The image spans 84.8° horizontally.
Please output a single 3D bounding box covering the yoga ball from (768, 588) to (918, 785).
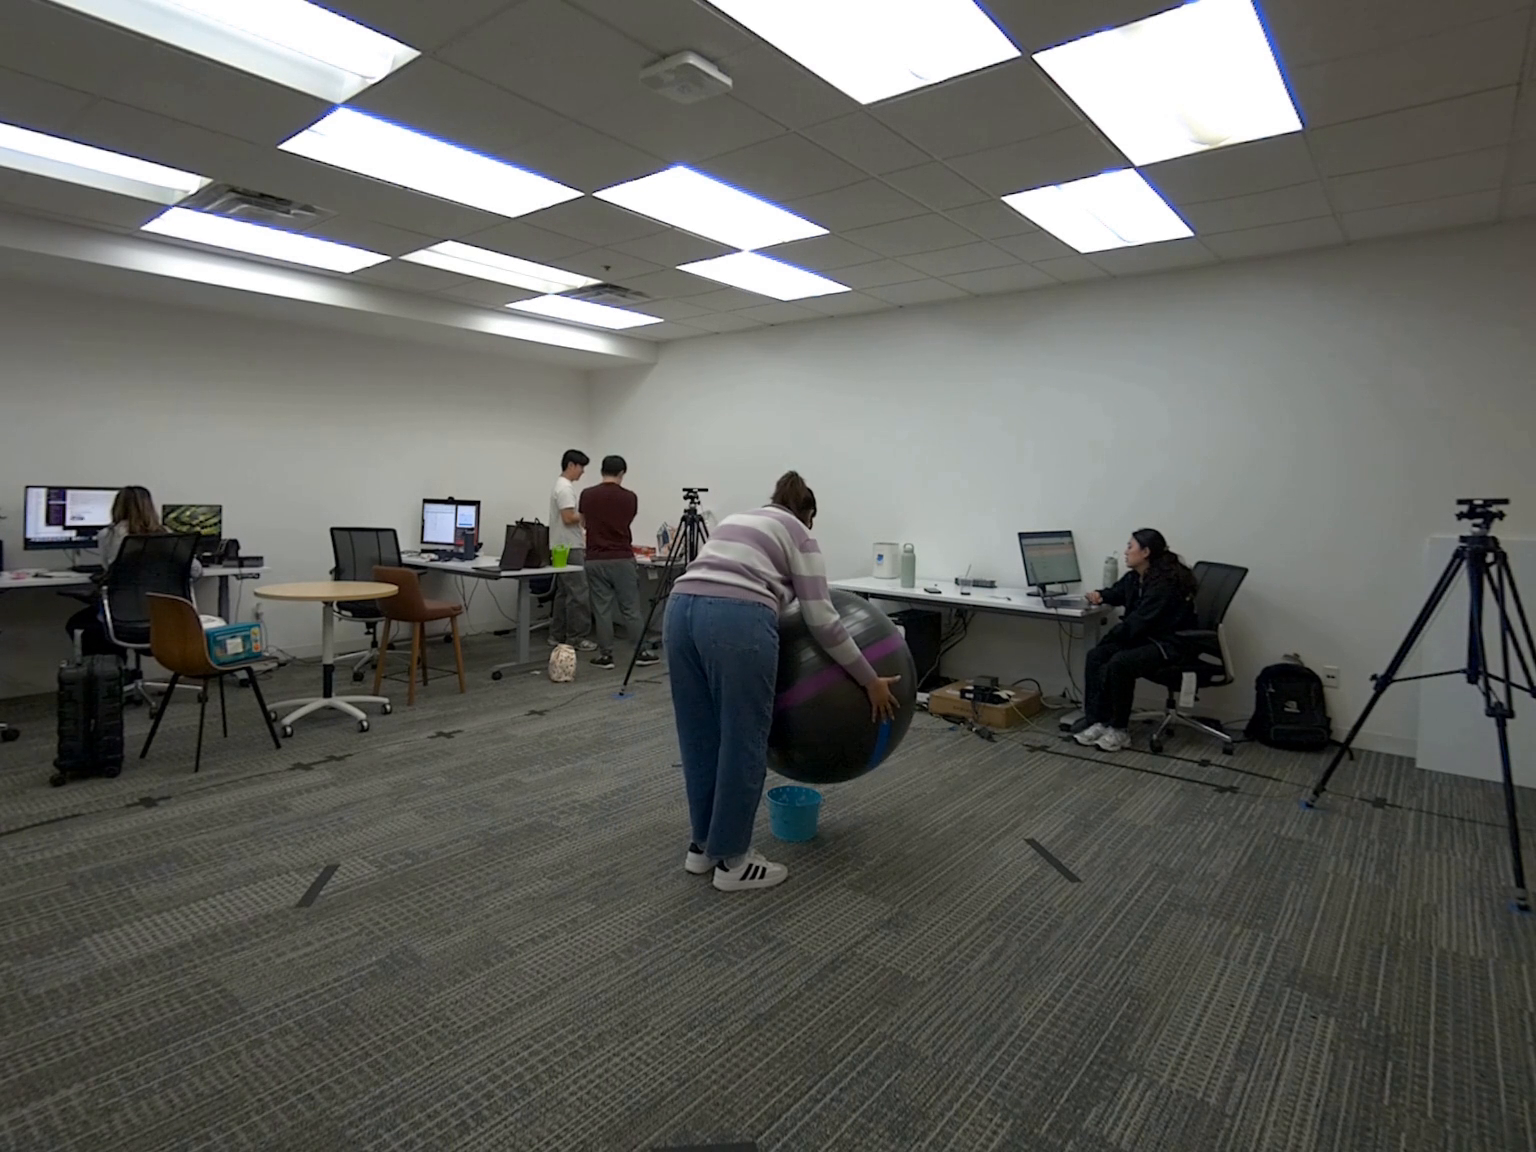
[{"bbox_3d":[0.204,0.426,3.365,0.757,0.756,0.761,1,4,-2],"label":"yoga ball"}]
